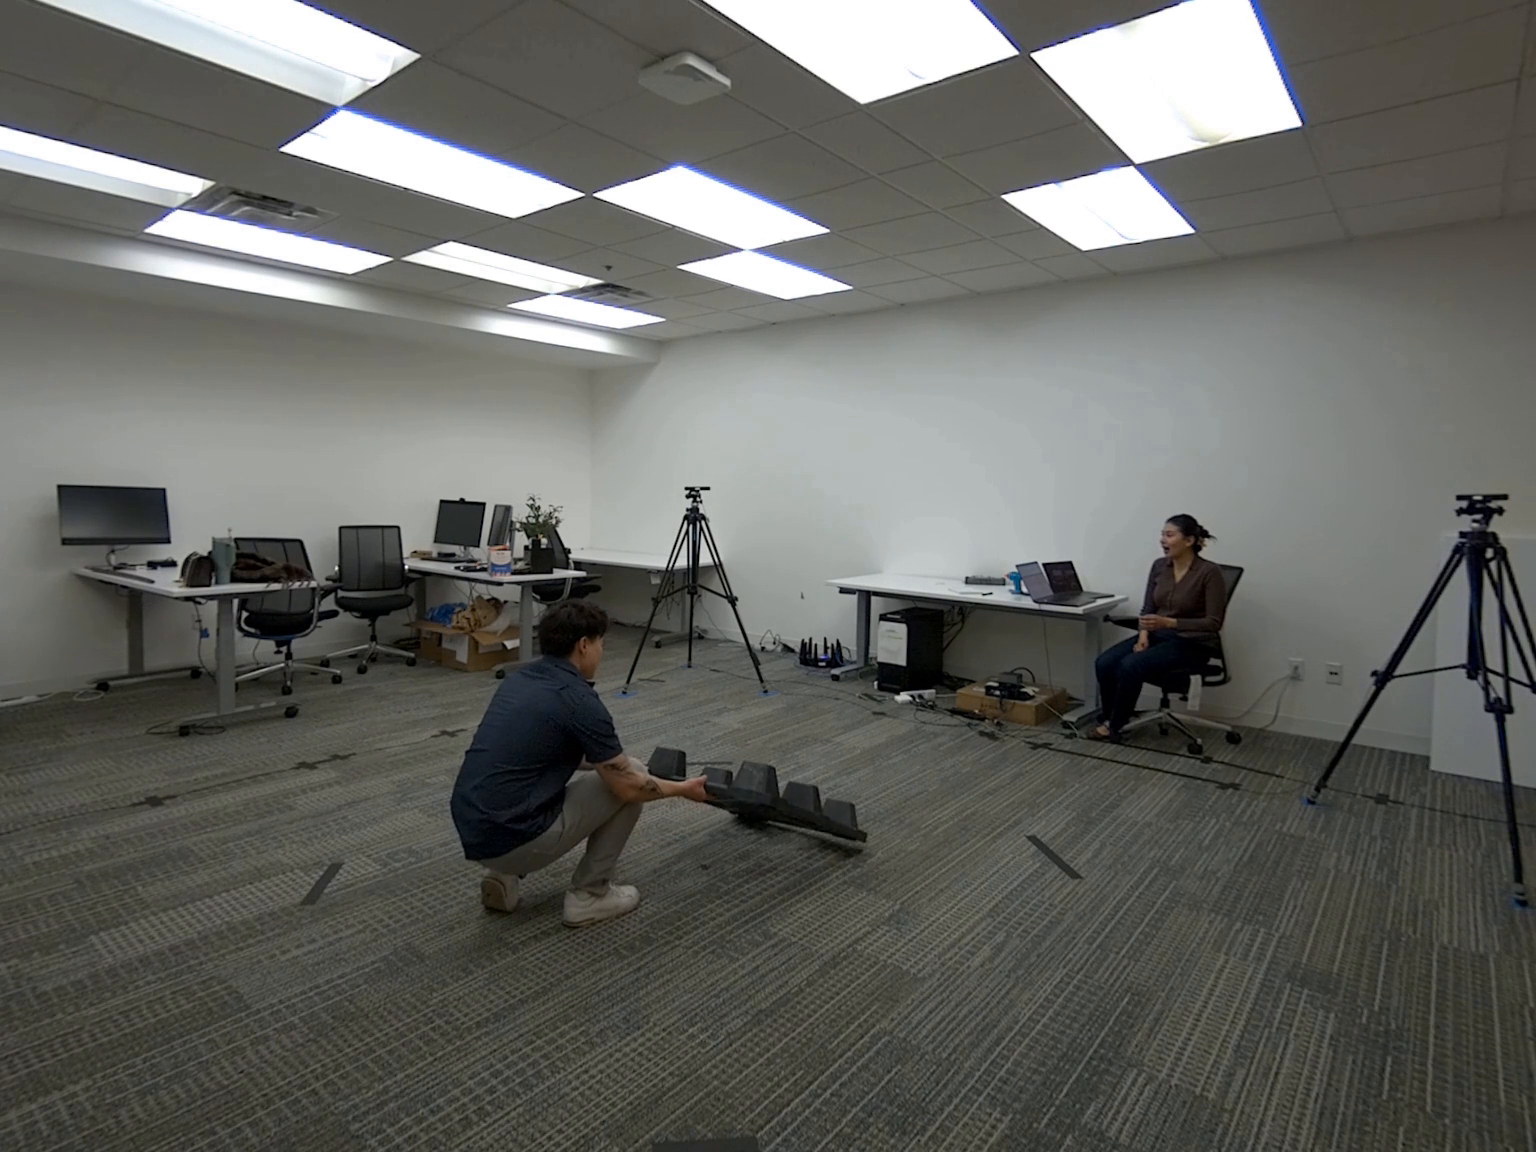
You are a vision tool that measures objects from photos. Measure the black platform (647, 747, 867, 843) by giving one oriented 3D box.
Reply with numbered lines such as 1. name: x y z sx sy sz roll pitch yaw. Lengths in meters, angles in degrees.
1. black platform: -0.052 0.816 3.178 0.623 0.145 0.772 1 -22 33
